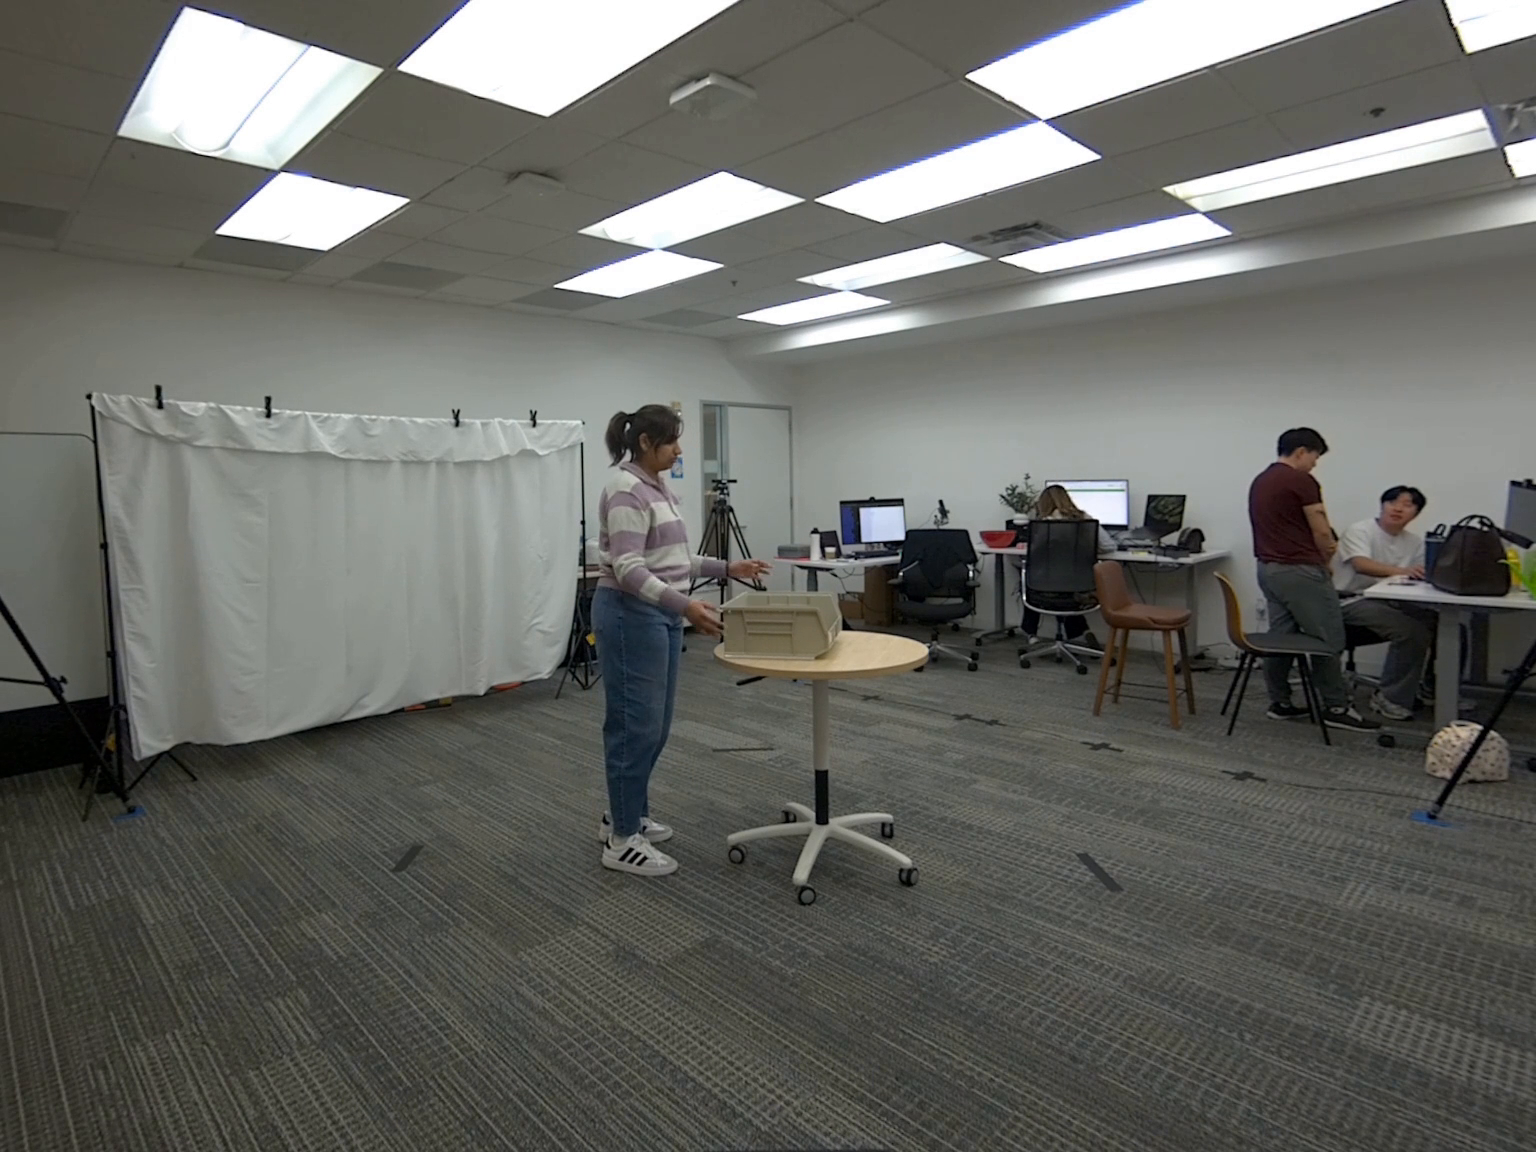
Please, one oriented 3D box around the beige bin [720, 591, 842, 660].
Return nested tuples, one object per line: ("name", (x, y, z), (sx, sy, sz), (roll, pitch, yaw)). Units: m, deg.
("beige bin", (0.060, 0.172, 3.095), (0.382, 0.188, 0.419), (-1, 5, 12))
